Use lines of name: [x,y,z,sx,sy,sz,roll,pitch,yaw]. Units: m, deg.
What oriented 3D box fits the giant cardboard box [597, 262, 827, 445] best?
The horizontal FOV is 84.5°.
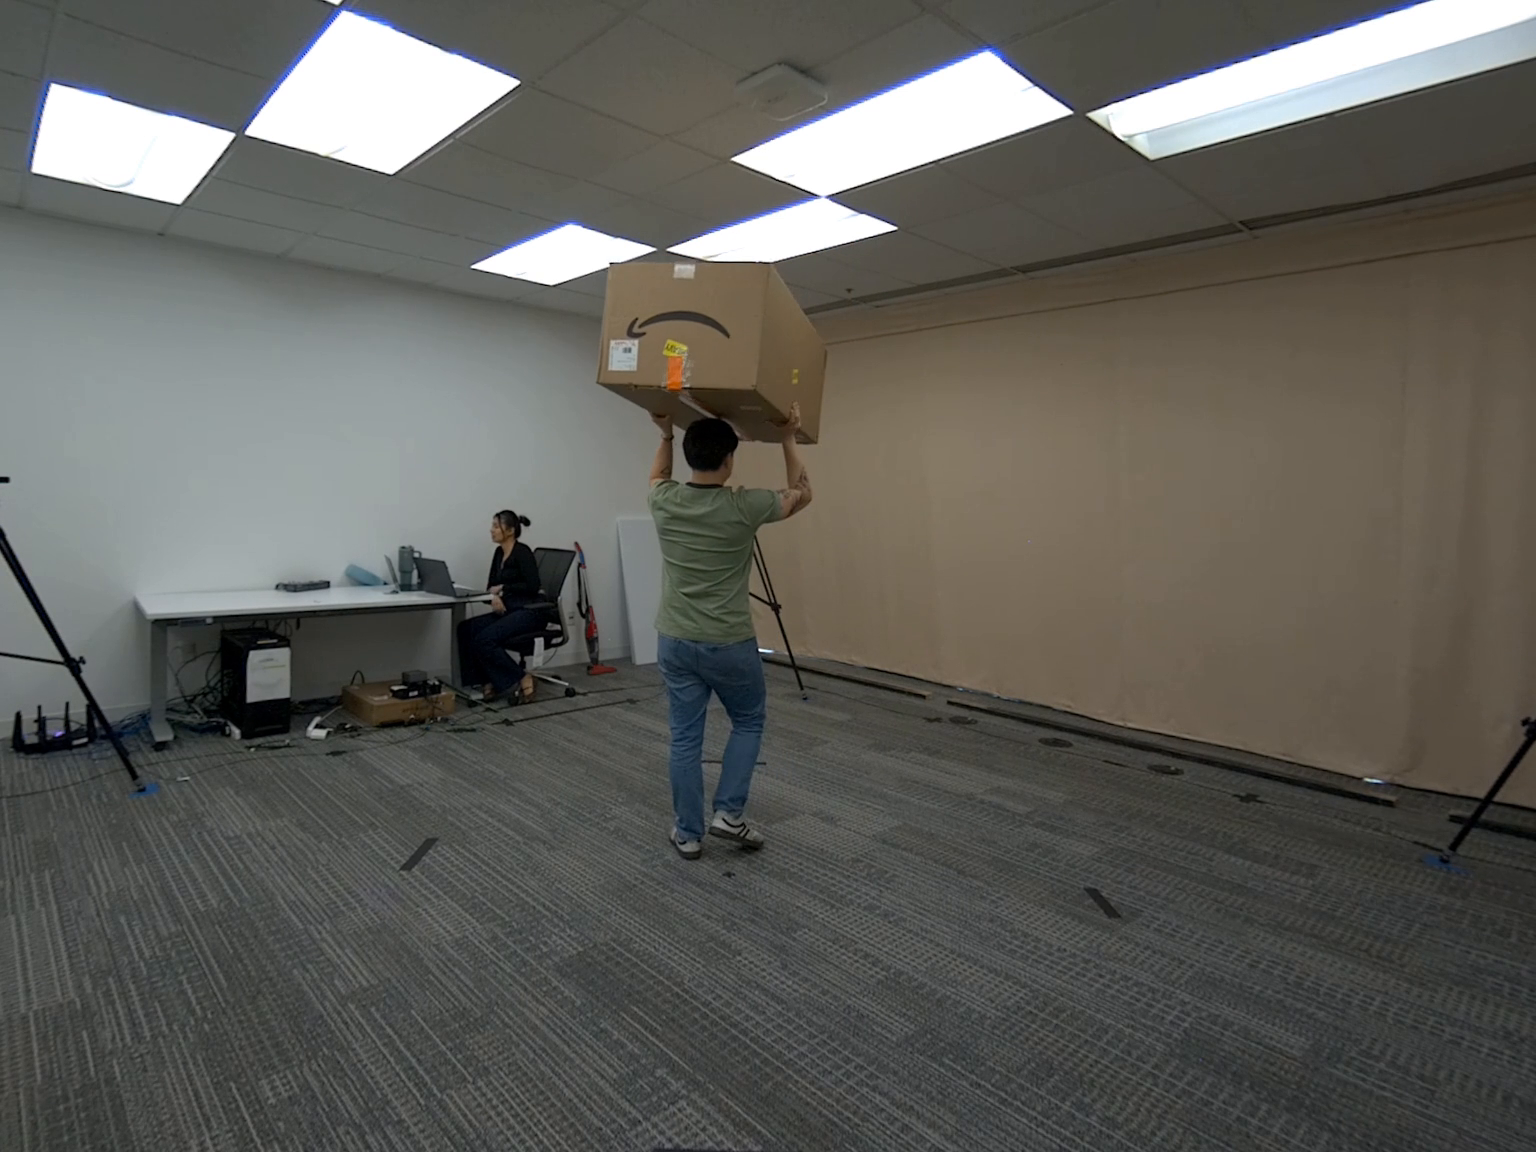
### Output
giant cardboard box: [-0.165,-0.816,3.261,0.586,0.426,1.011,6,0,16]
